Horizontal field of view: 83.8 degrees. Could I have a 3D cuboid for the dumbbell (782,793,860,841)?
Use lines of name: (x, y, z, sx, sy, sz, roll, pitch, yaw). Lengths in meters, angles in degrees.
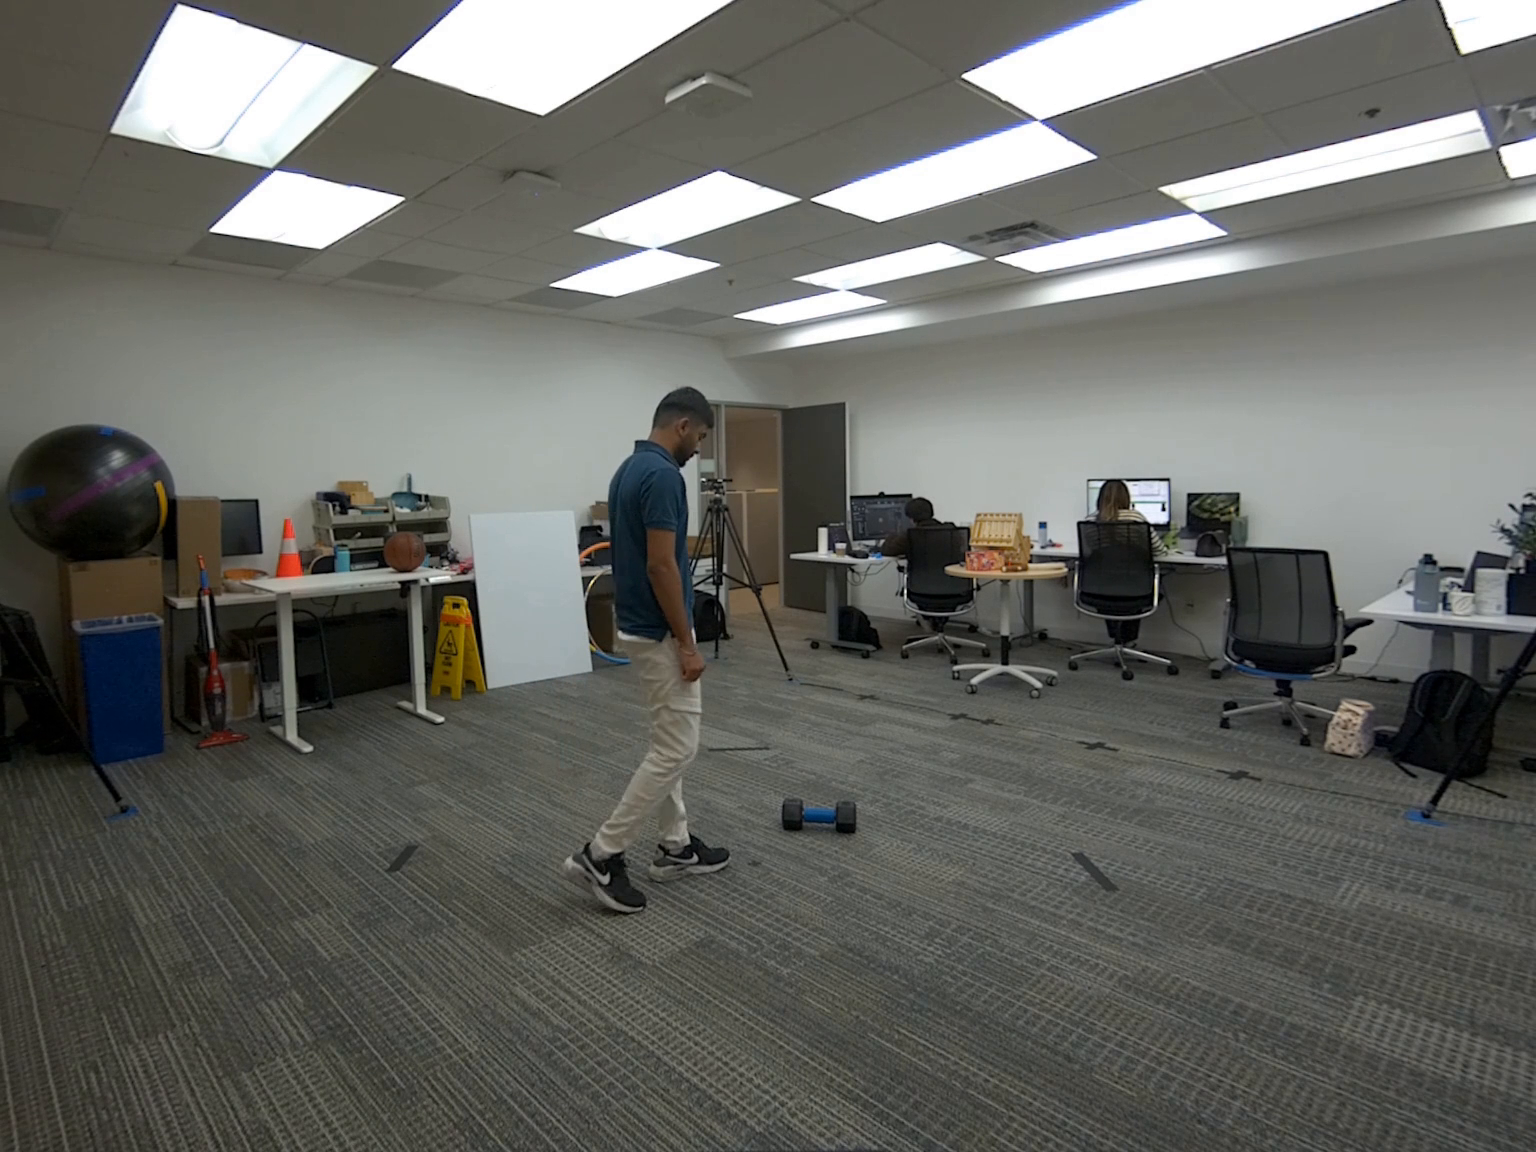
dumbbell: (0.211, 0.955, 3.402, 0.296, 0.119, 0.110, 1, 34, 10)
